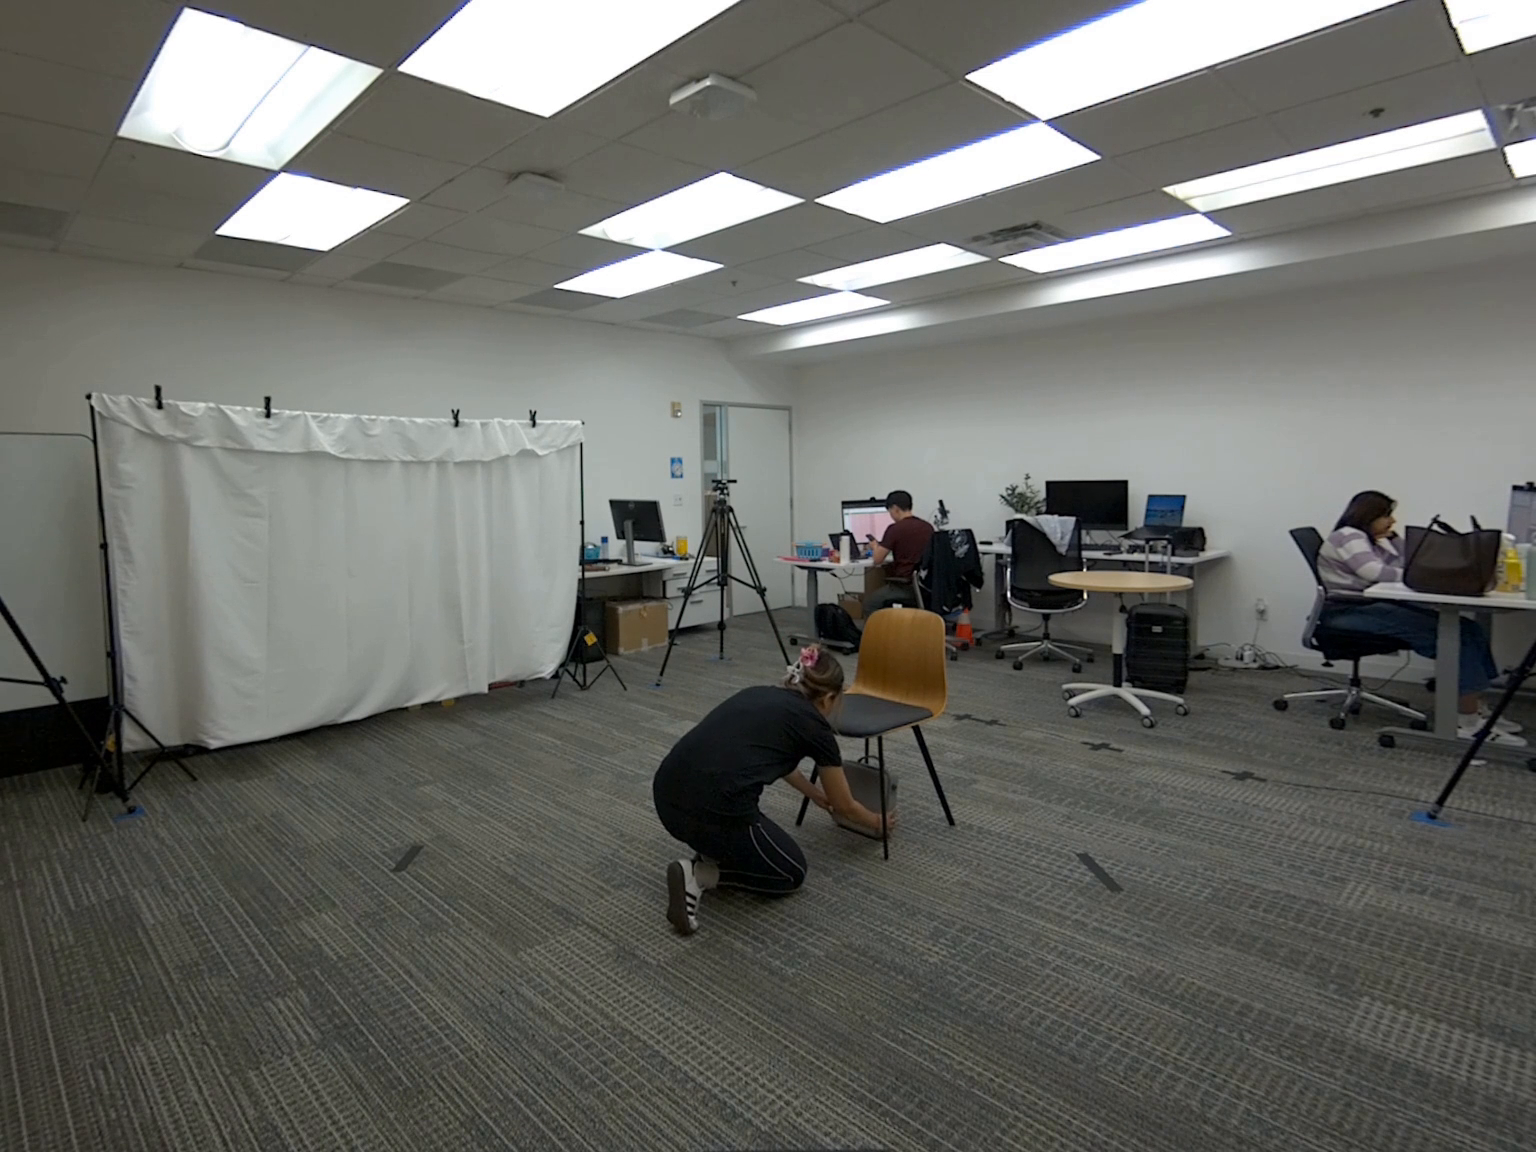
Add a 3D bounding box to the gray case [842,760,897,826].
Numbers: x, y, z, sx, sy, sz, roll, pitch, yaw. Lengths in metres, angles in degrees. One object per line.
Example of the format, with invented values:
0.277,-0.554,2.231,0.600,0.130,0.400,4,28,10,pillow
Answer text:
0.390,0.881,3.403,0.101,0.261,0.265,8,-1,-38,gray case
